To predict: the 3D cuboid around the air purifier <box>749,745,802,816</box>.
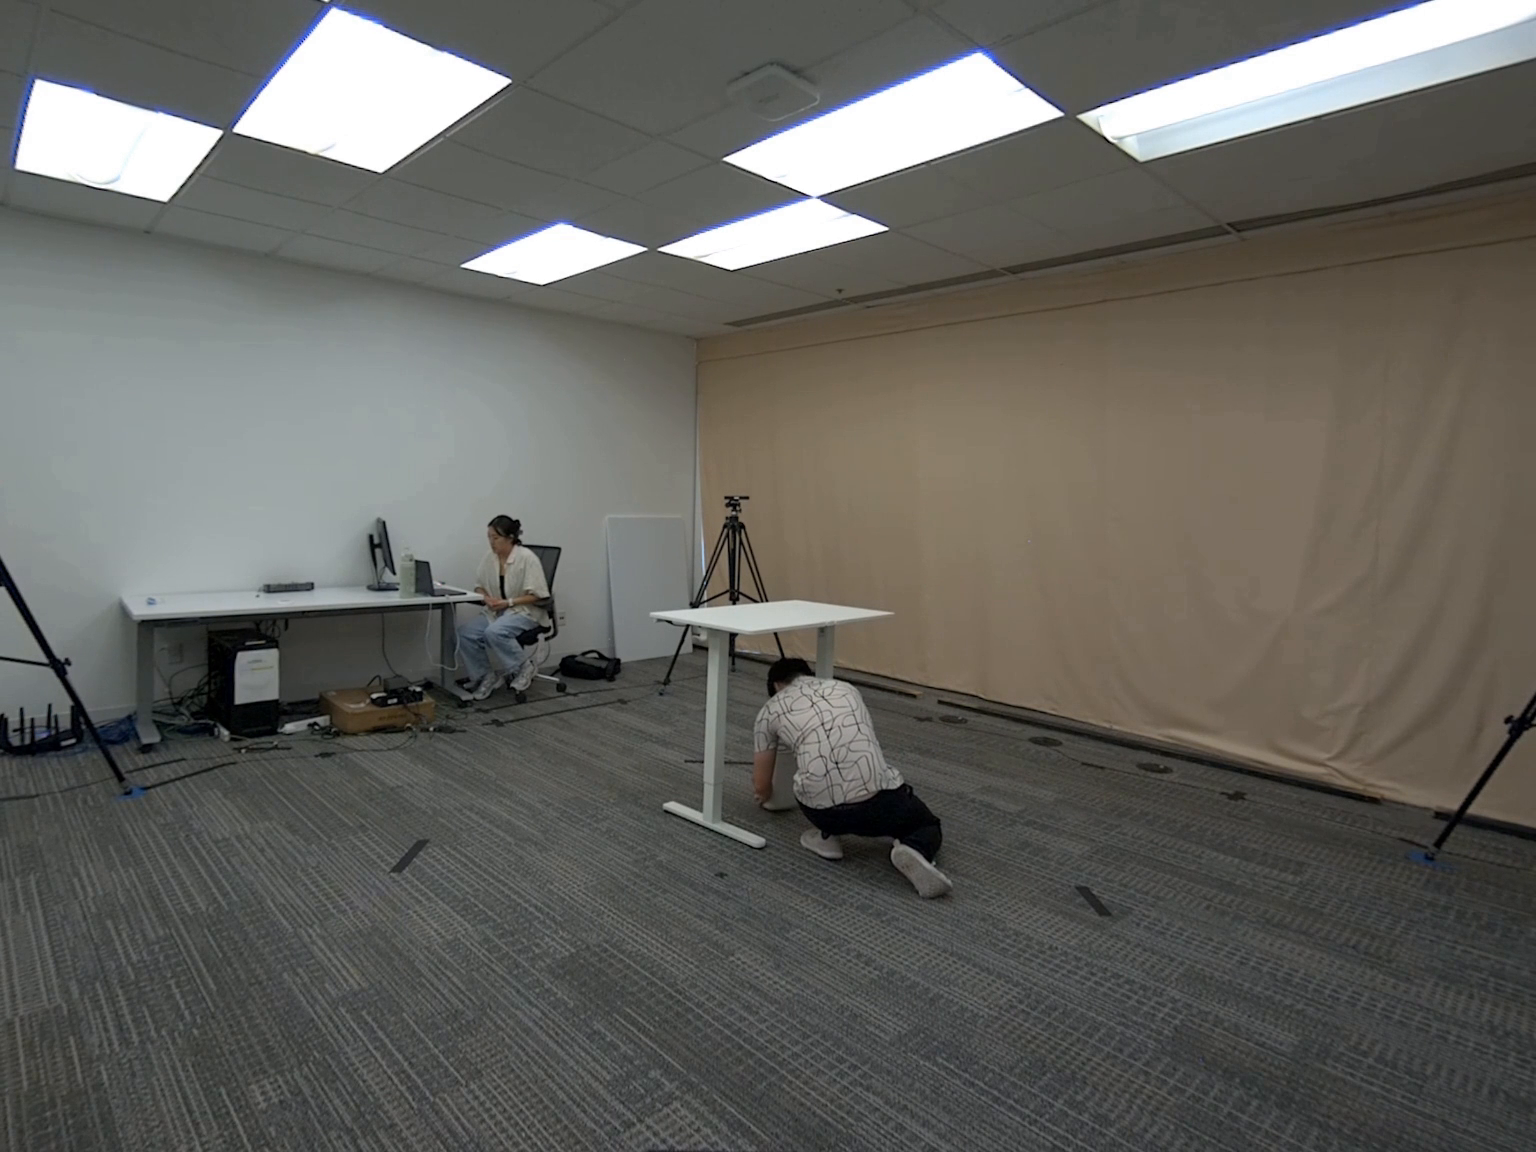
[{"bbox_3d":[0.041,0.904,3.800,0.168,0.264,0.175,2,5,-28],"label":"air purifier"}]
